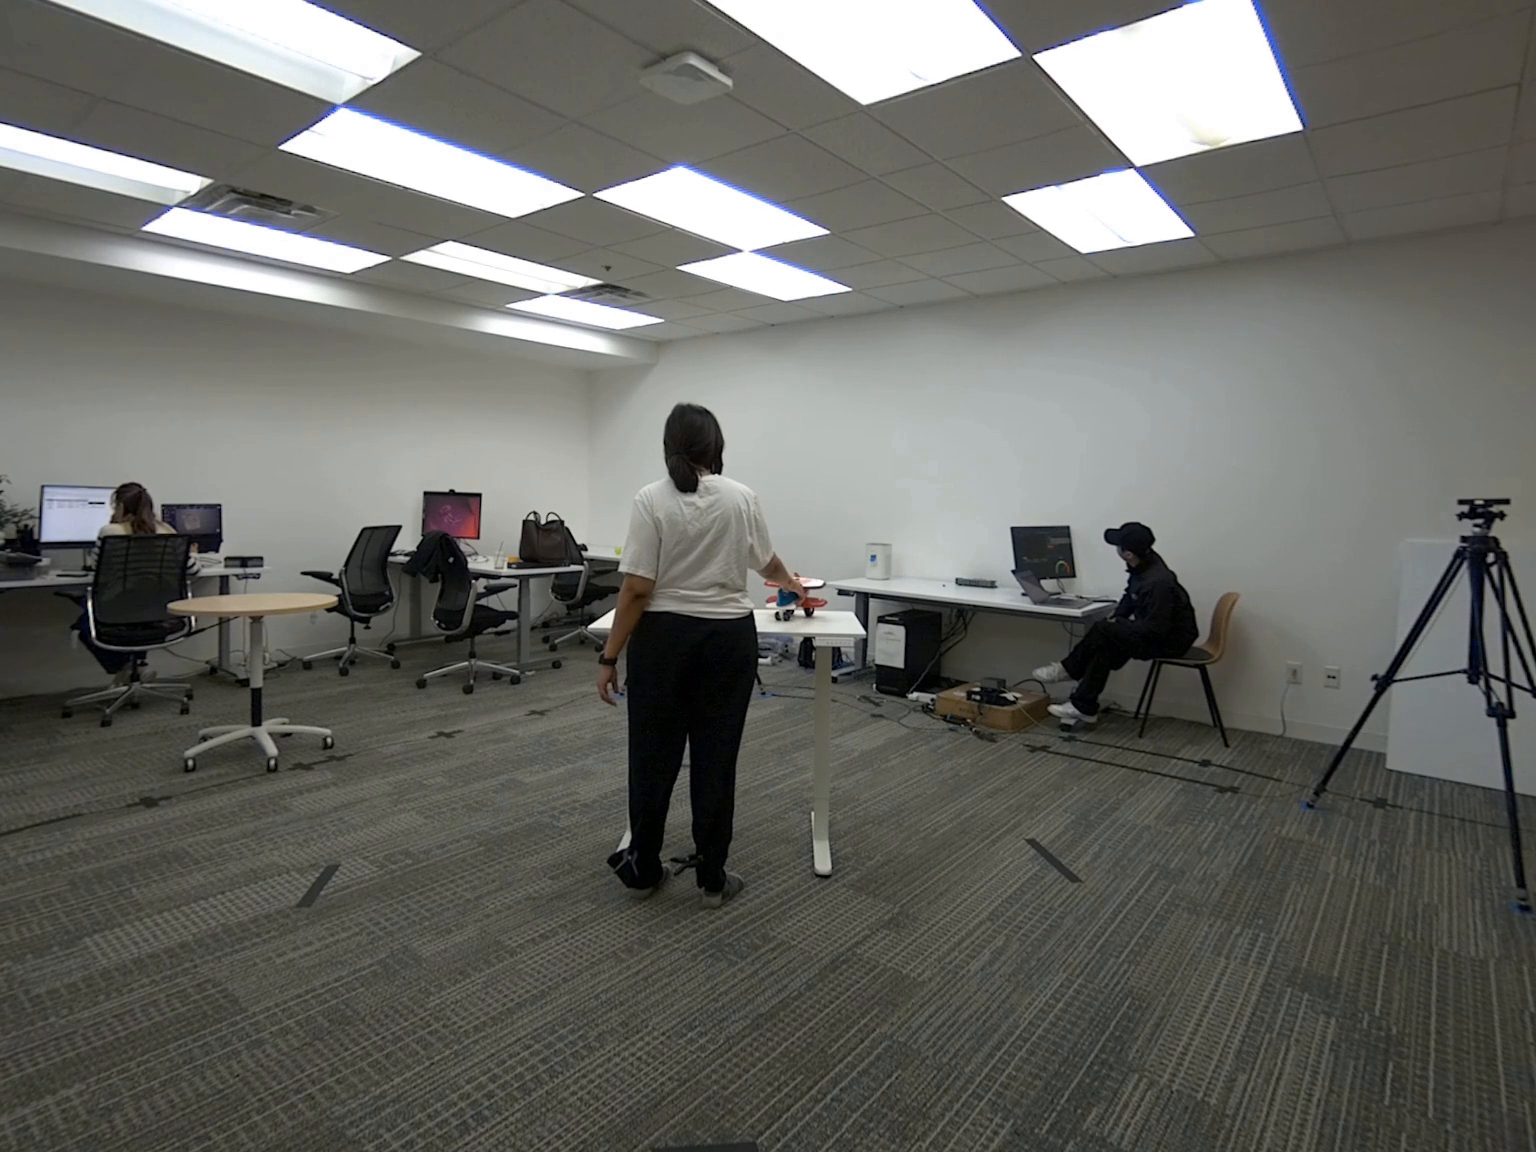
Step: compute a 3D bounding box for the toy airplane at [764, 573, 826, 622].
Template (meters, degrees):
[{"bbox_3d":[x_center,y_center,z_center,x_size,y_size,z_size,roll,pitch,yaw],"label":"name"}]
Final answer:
[{"bbox_3d":[0.110,0.087,3.392,0.251,0.156,0.260,0,3,-3],"label":"toy airplane"}]
